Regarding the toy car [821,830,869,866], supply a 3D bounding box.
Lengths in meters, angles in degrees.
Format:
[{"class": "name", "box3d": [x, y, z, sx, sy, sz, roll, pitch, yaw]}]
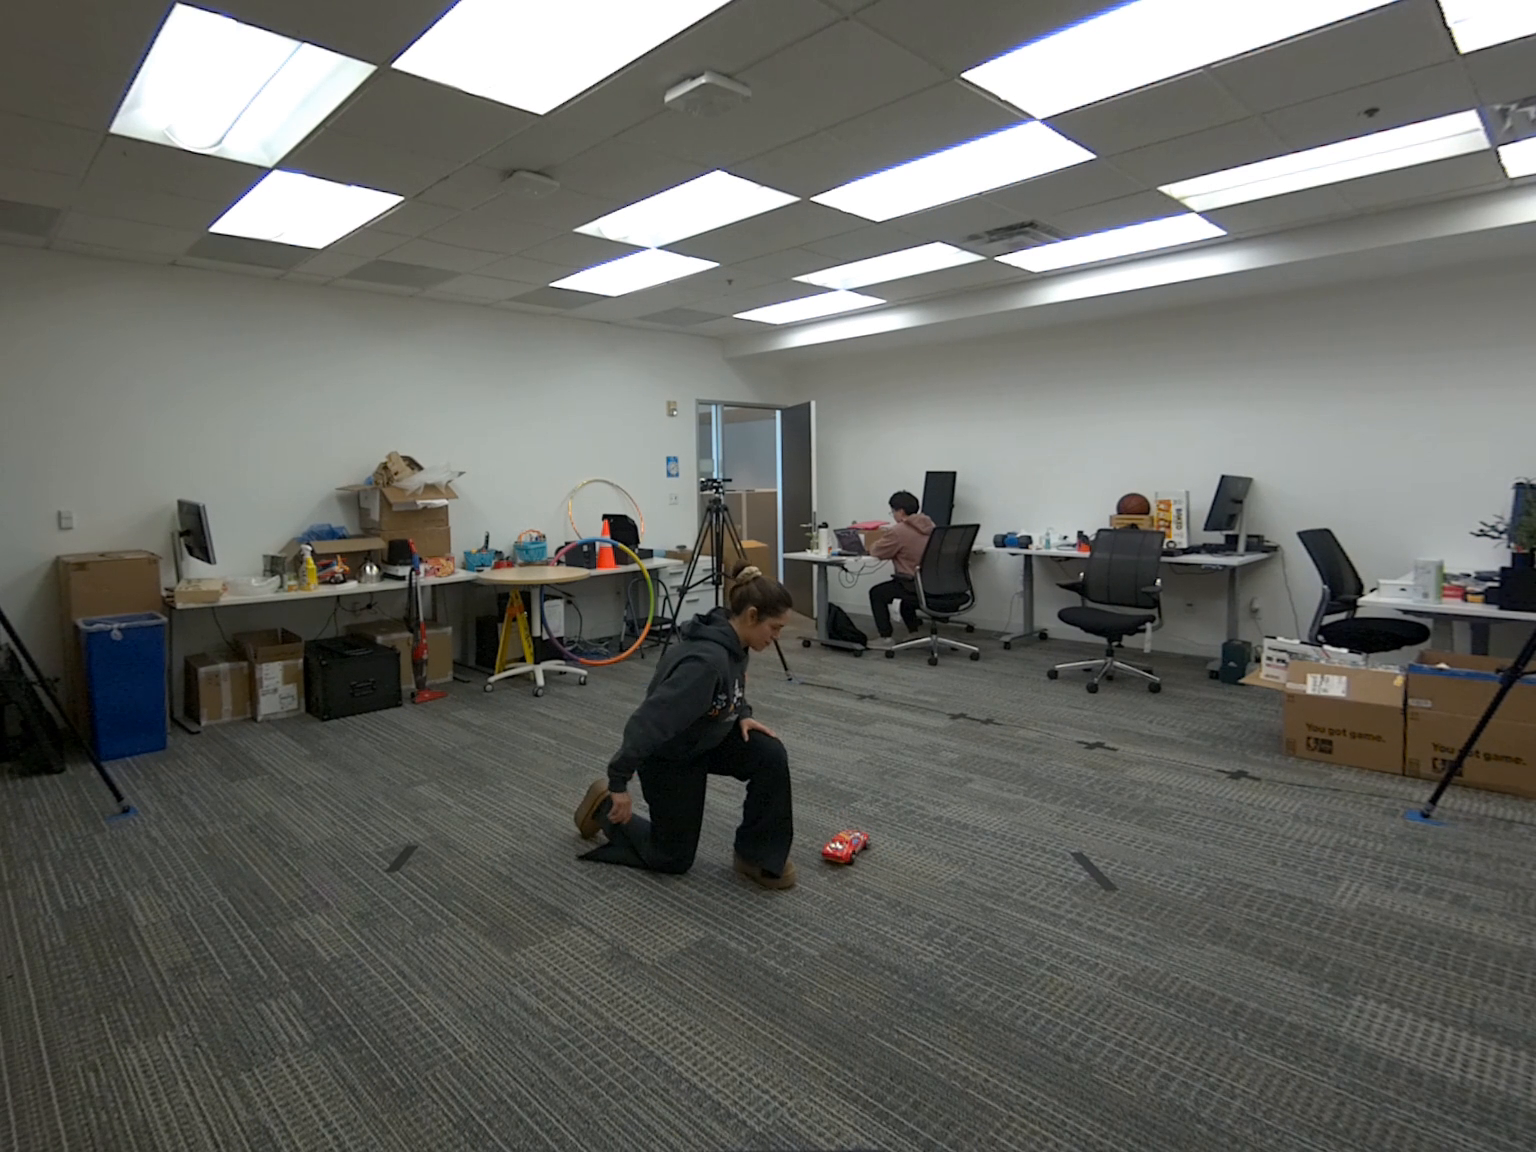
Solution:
[{"class": "toy car", "box3d": [0.291, 1.008, 3.144, 0.134, 0.083, 0.247, 3, -3, 28]}]
